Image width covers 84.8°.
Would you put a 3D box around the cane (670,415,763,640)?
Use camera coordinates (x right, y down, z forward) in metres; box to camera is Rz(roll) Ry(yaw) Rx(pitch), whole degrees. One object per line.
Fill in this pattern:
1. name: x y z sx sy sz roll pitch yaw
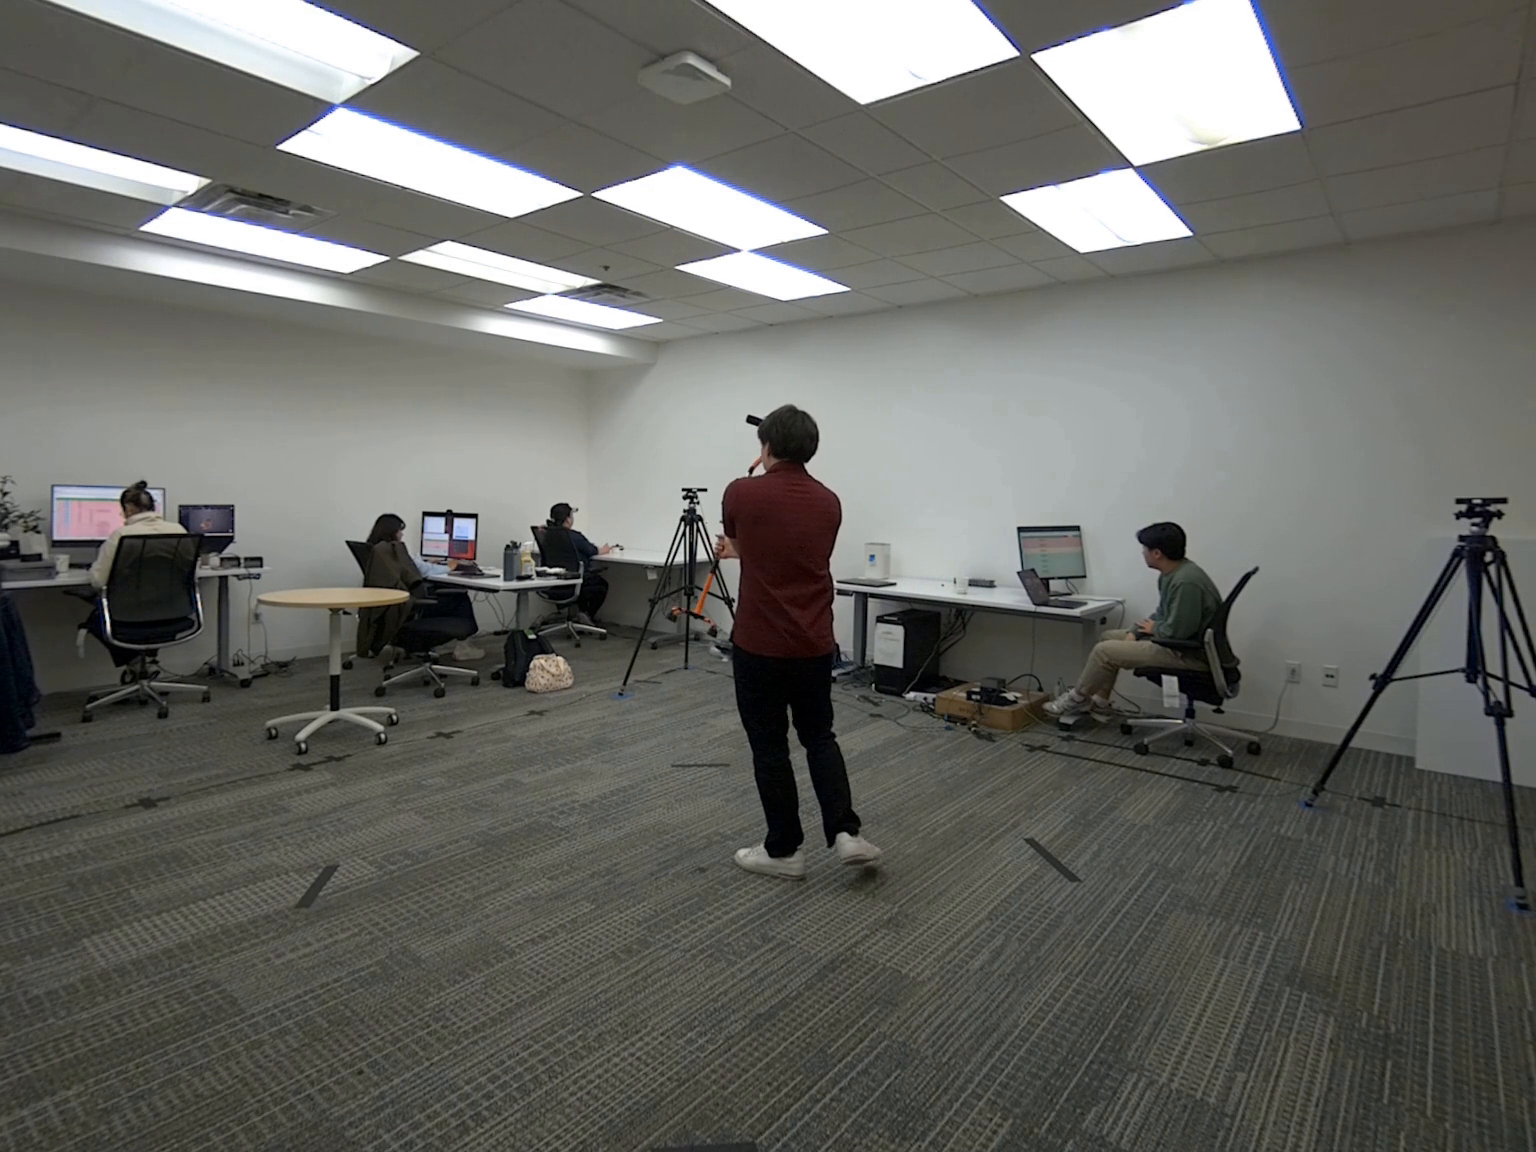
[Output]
1. cane: -0.159 -0.217 3.459 0.209 0.912 0.149 17 -7 8
